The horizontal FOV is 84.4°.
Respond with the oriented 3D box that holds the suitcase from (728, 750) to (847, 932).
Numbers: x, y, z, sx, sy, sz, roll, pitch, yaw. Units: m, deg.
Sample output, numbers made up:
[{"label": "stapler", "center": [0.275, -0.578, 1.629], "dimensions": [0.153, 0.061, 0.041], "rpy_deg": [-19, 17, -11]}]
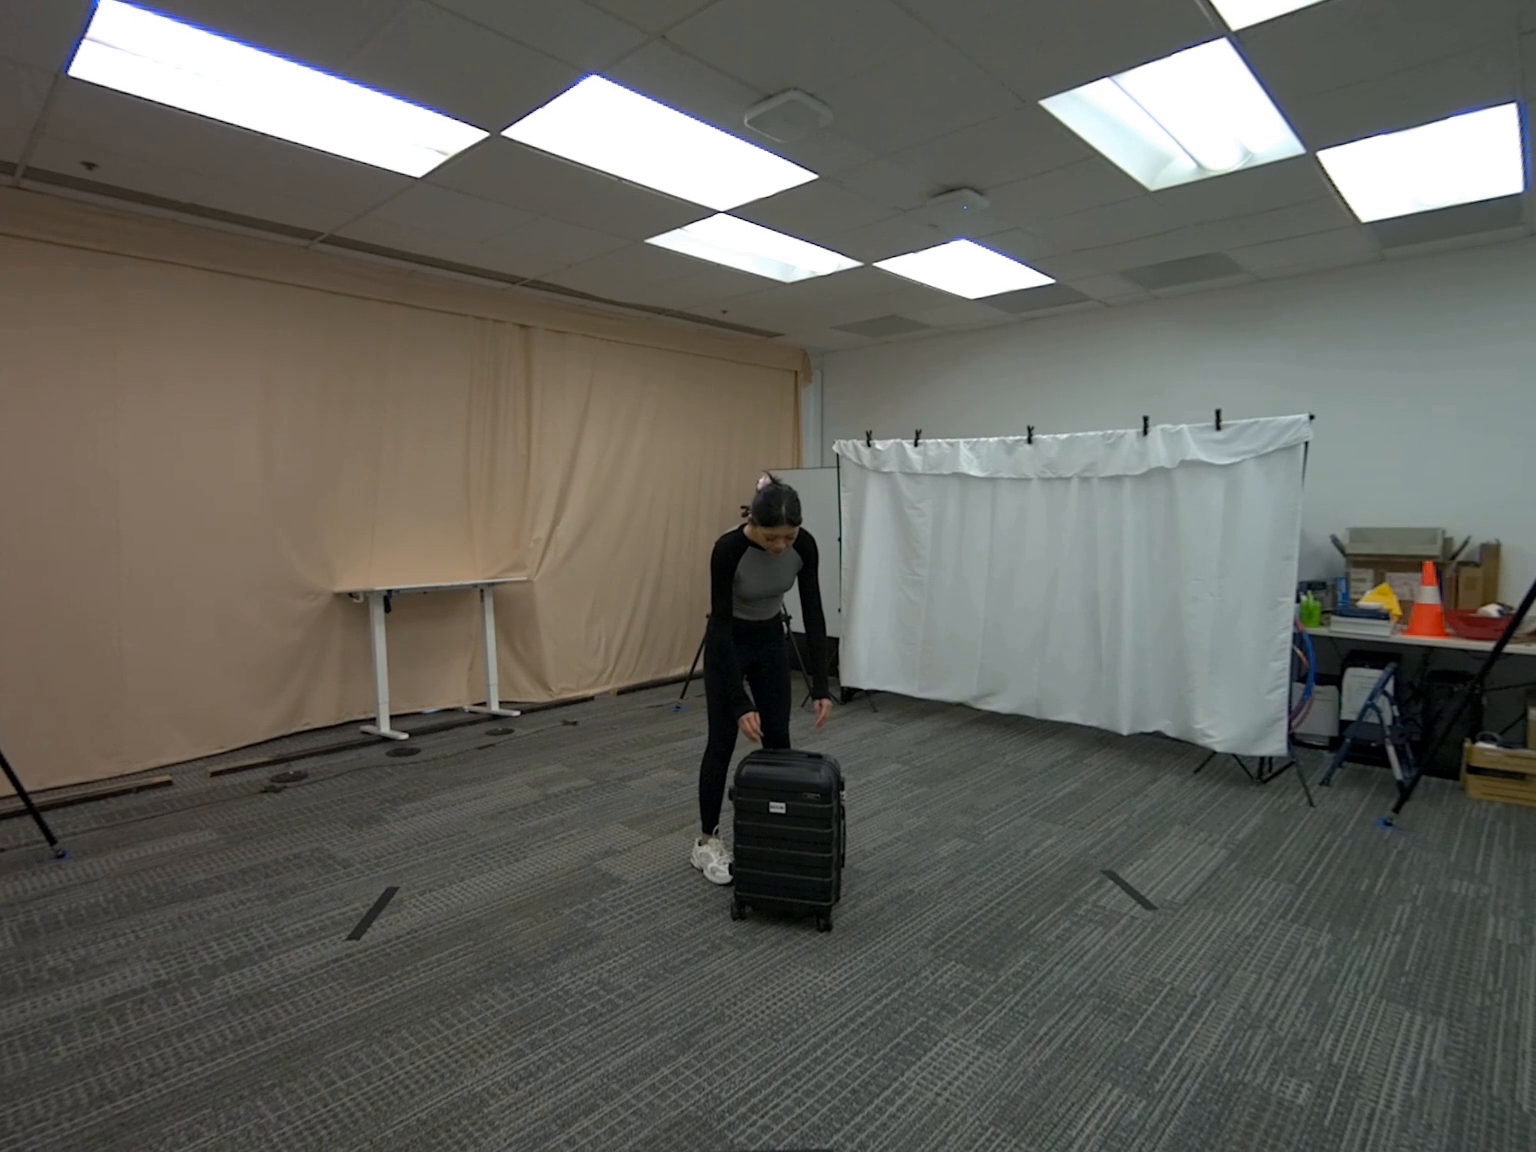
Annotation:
[{"label": "suitcase", "center": [0.075, 0.877, 2.865], "dimensions": [0.382, 0.547, 0.245], "rpy_deg": [2, 5, 16]}]
